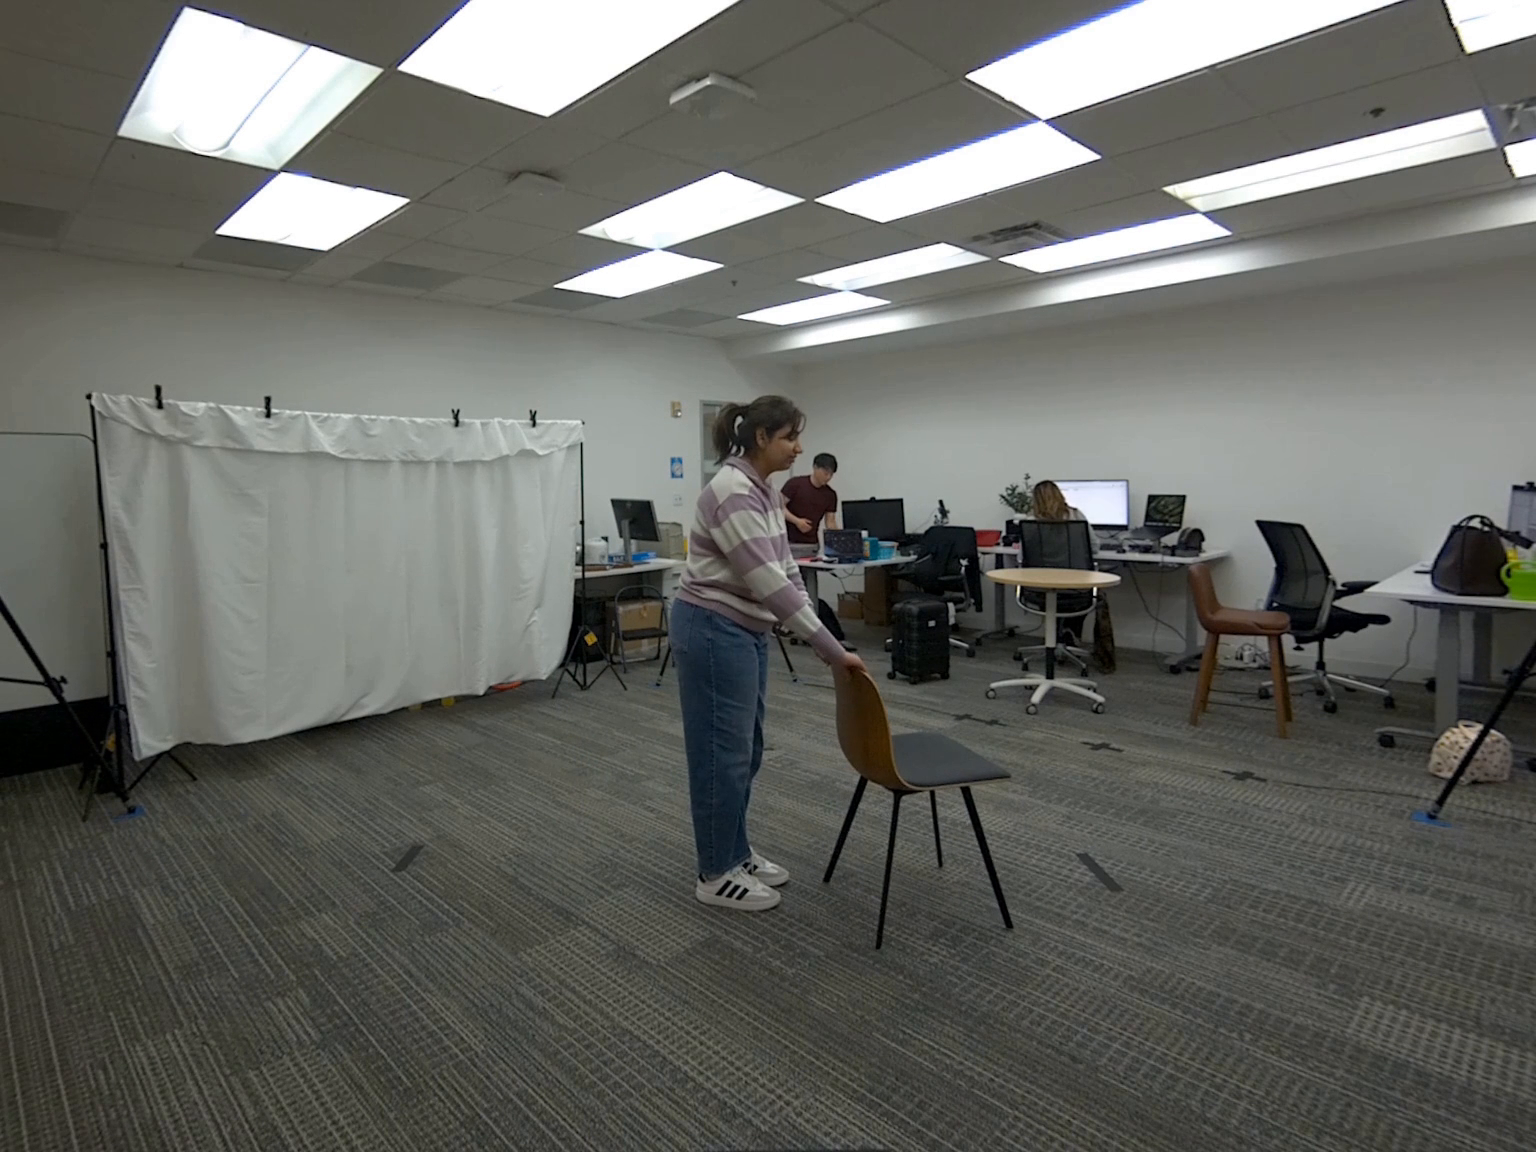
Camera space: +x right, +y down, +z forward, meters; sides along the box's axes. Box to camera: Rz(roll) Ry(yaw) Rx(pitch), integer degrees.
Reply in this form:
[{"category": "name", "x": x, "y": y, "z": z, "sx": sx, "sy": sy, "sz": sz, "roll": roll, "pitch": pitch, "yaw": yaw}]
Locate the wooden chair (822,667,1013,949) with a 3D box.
[{"category": "wooden chair", "x": 0.474, "y": 0.641, "z": 2.768, "sx": 0.516, "sy": 0.874, "sz": 0.486, "roll": -6, "pitch": 5, "yaw": -15}]
